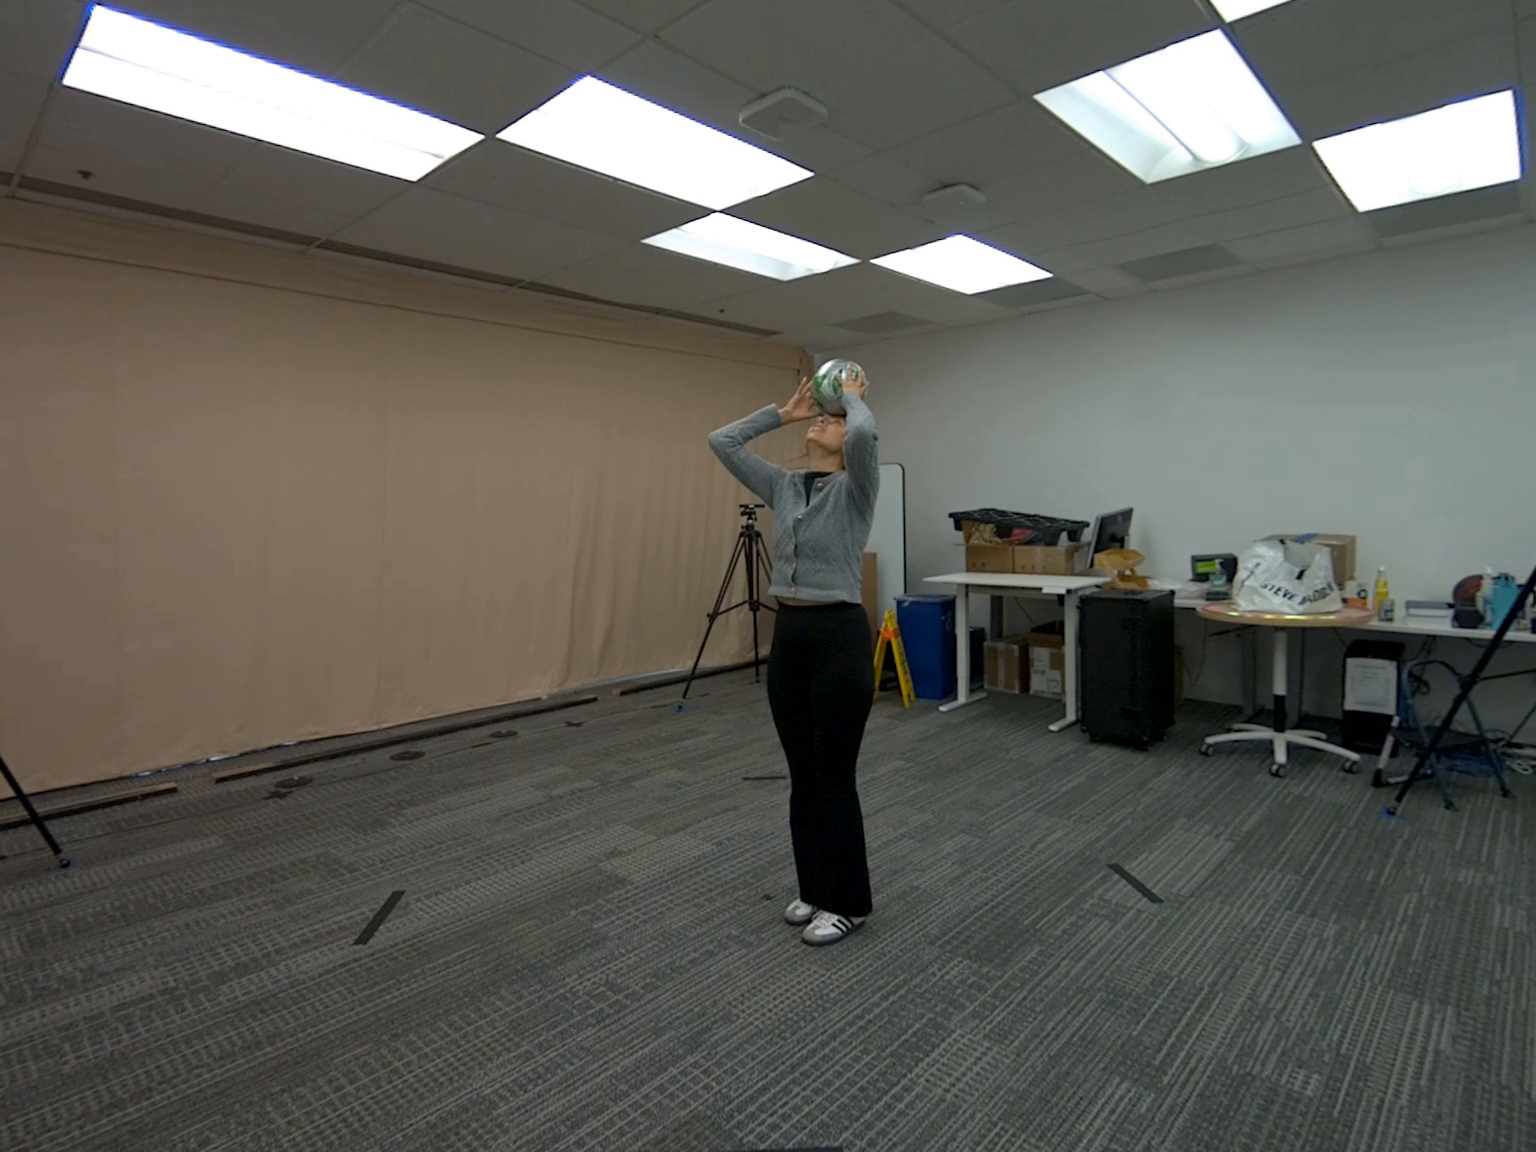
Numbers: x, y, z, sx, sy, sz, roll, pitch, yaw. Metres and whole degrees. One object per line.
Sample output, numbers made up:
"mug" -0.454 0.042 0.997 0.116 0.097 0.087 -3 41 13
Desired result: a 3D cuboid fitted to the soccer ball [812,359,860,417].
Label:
"soccer ball" 0.240 -0.622 2.785 0.187 0.187 0.188 -1 4 -2
